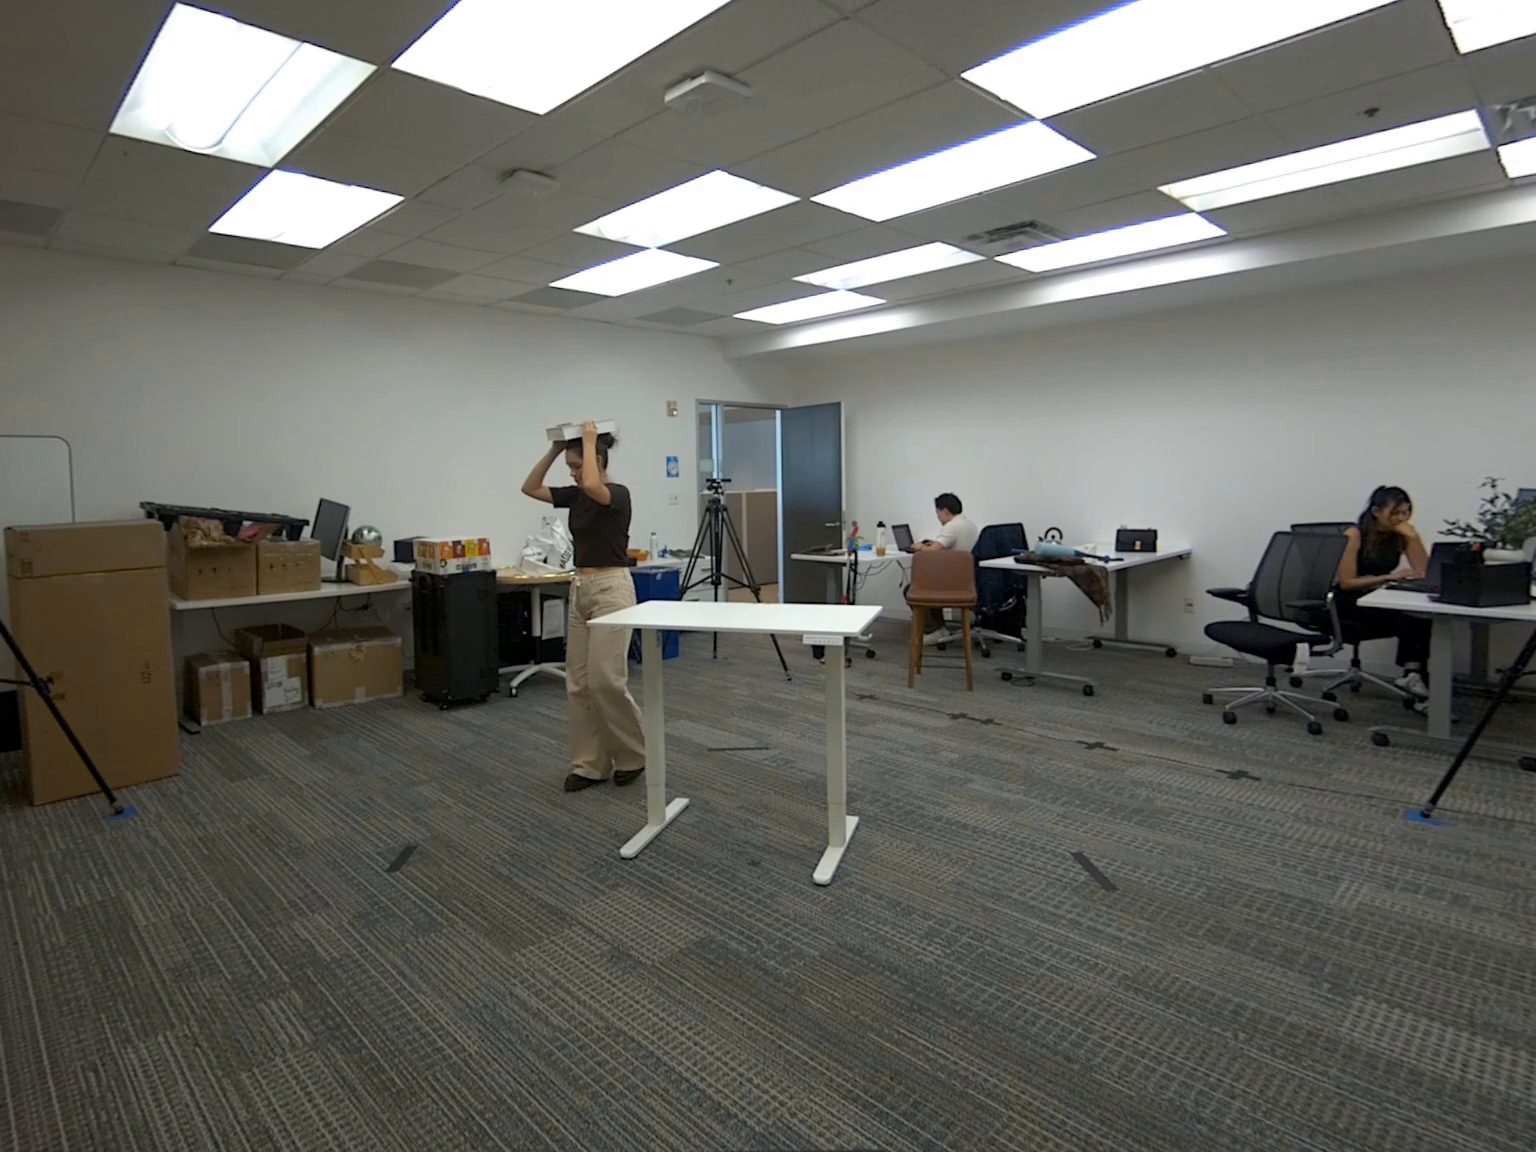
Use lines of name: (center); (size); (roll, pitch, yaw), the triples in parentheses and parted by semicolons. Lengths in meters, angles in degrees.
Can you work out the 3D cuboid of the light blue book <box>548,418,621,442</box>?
light blue book: (-0.837, -0.666, 3.893); (0.256, 0.058, 0.197); (-18, 16, -34)
